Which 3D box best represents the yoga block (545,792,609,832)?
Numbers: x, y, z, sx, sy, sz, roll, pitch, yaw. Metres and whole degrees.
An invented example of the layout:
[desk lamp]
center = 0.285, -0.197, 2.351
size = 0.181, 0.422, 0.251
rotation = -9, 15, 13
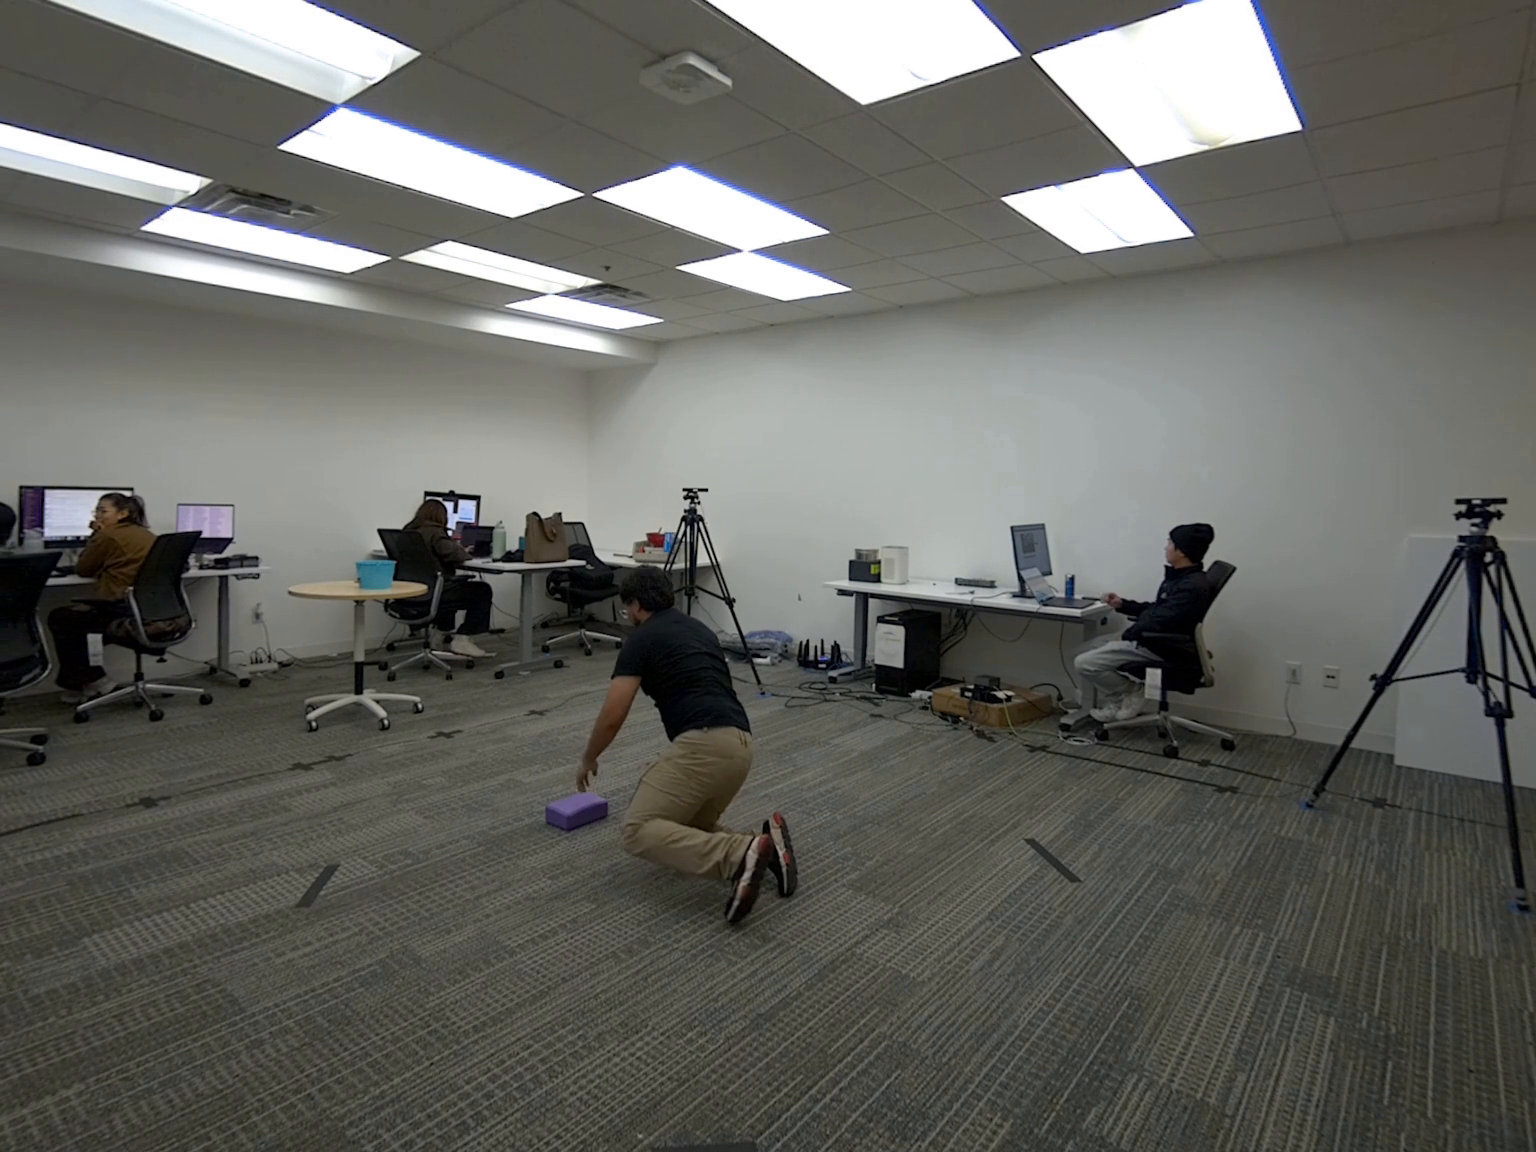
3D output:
[yoga block]
center = -0.809, 0.977, 3.557
size = 0.154, 0.076, 0.223
rotation = 6, 6, 37
